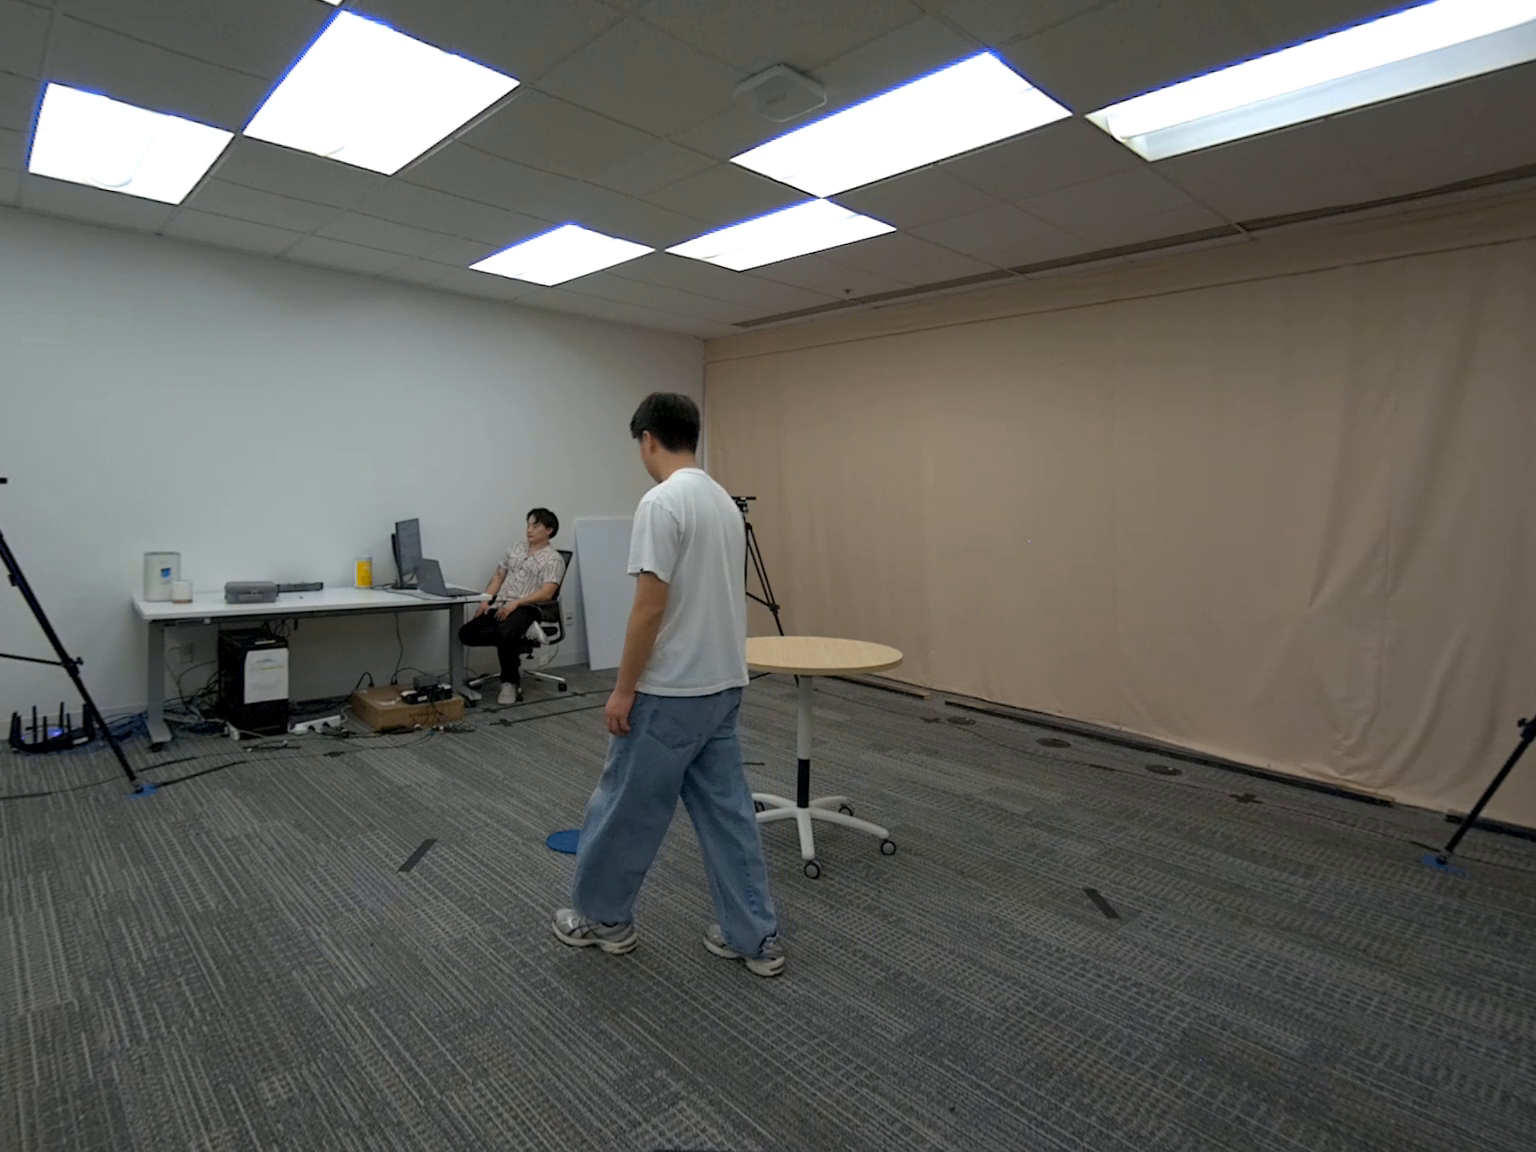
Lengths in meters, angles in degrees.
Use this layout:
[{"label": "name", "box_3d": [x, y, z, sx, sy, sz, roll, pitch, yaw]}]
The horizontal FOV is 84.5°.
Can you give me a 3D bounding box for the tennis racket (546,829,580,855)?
[{"label": "tennis racket", "box_3d": [-0.685, 1.057, 3.314, 0.442, 0.031, 0.210, 2, 6, 29]}]
